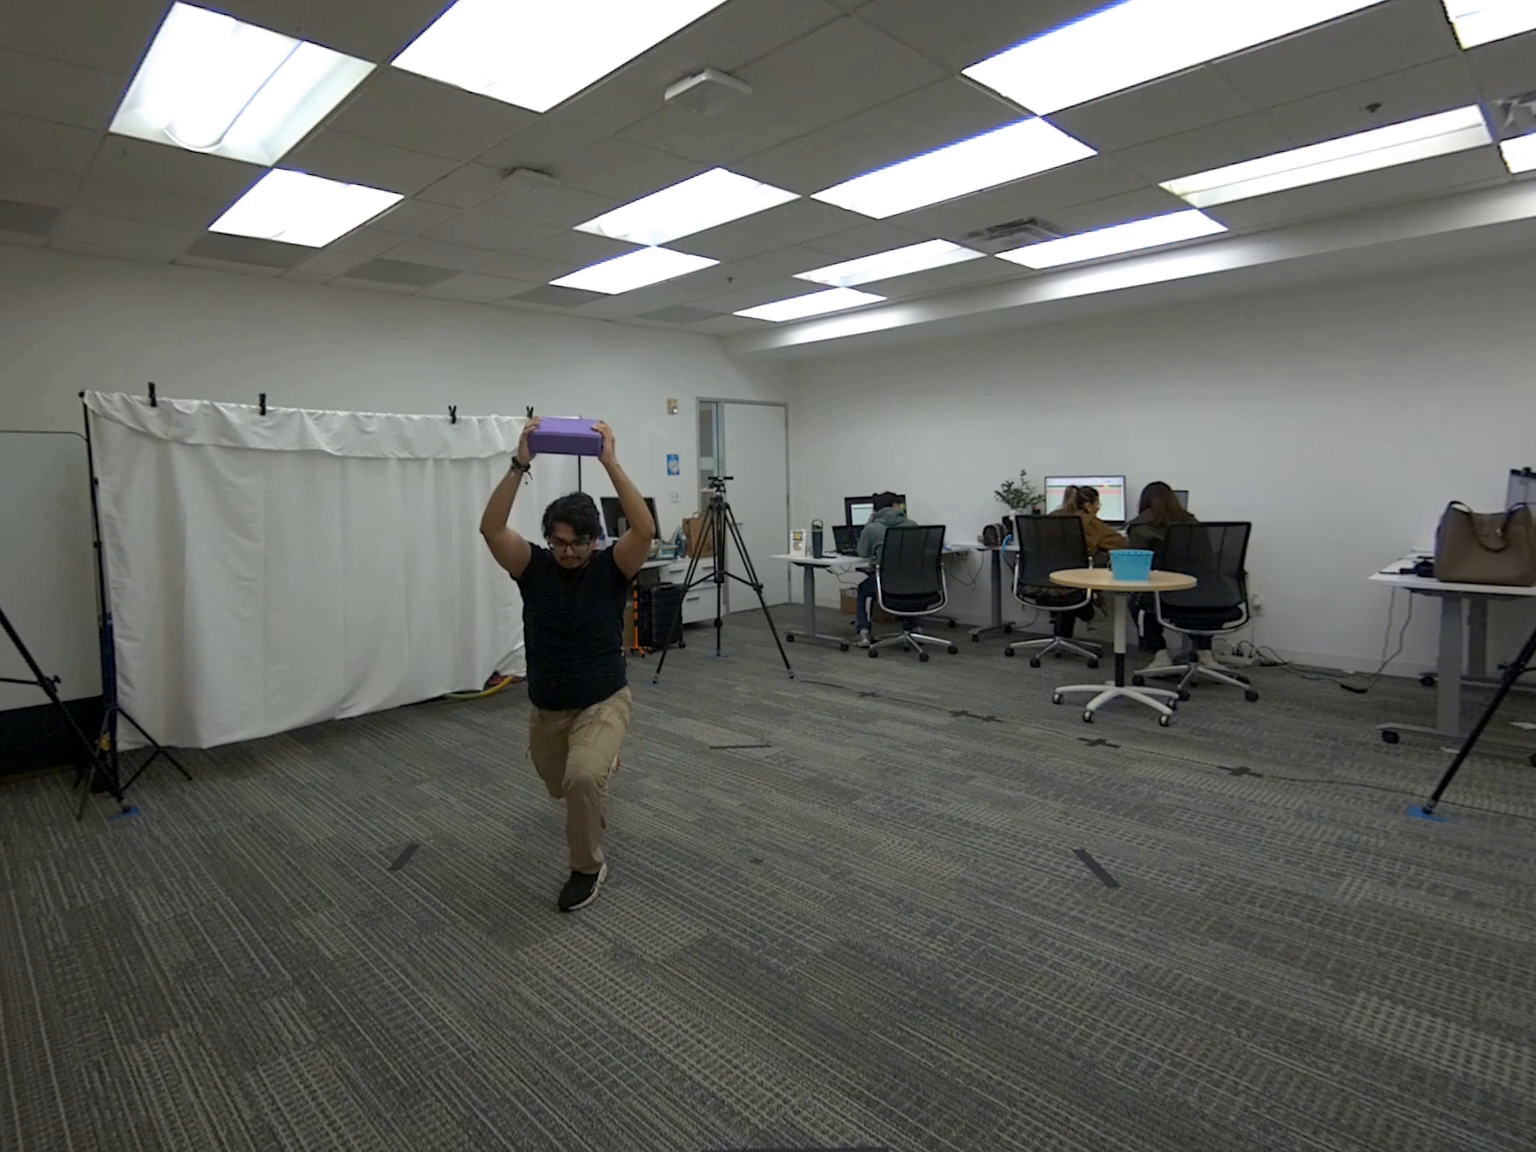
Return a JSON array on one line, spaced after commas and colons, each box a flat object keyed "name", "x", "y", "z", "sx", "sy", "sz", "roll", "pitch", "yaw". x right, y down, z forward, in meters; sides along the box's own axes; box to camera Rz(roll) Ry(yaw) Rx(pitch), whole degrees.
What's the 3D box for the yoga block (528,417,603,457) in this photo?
[{"name": "yoga block", "x": -0.646, "y": -0.461, "z": 2.776, "sx": 0.229, "sy": 0.075, "sz": 0.152, "roll": 3, "pitch": 30, "yaw": -3}]
